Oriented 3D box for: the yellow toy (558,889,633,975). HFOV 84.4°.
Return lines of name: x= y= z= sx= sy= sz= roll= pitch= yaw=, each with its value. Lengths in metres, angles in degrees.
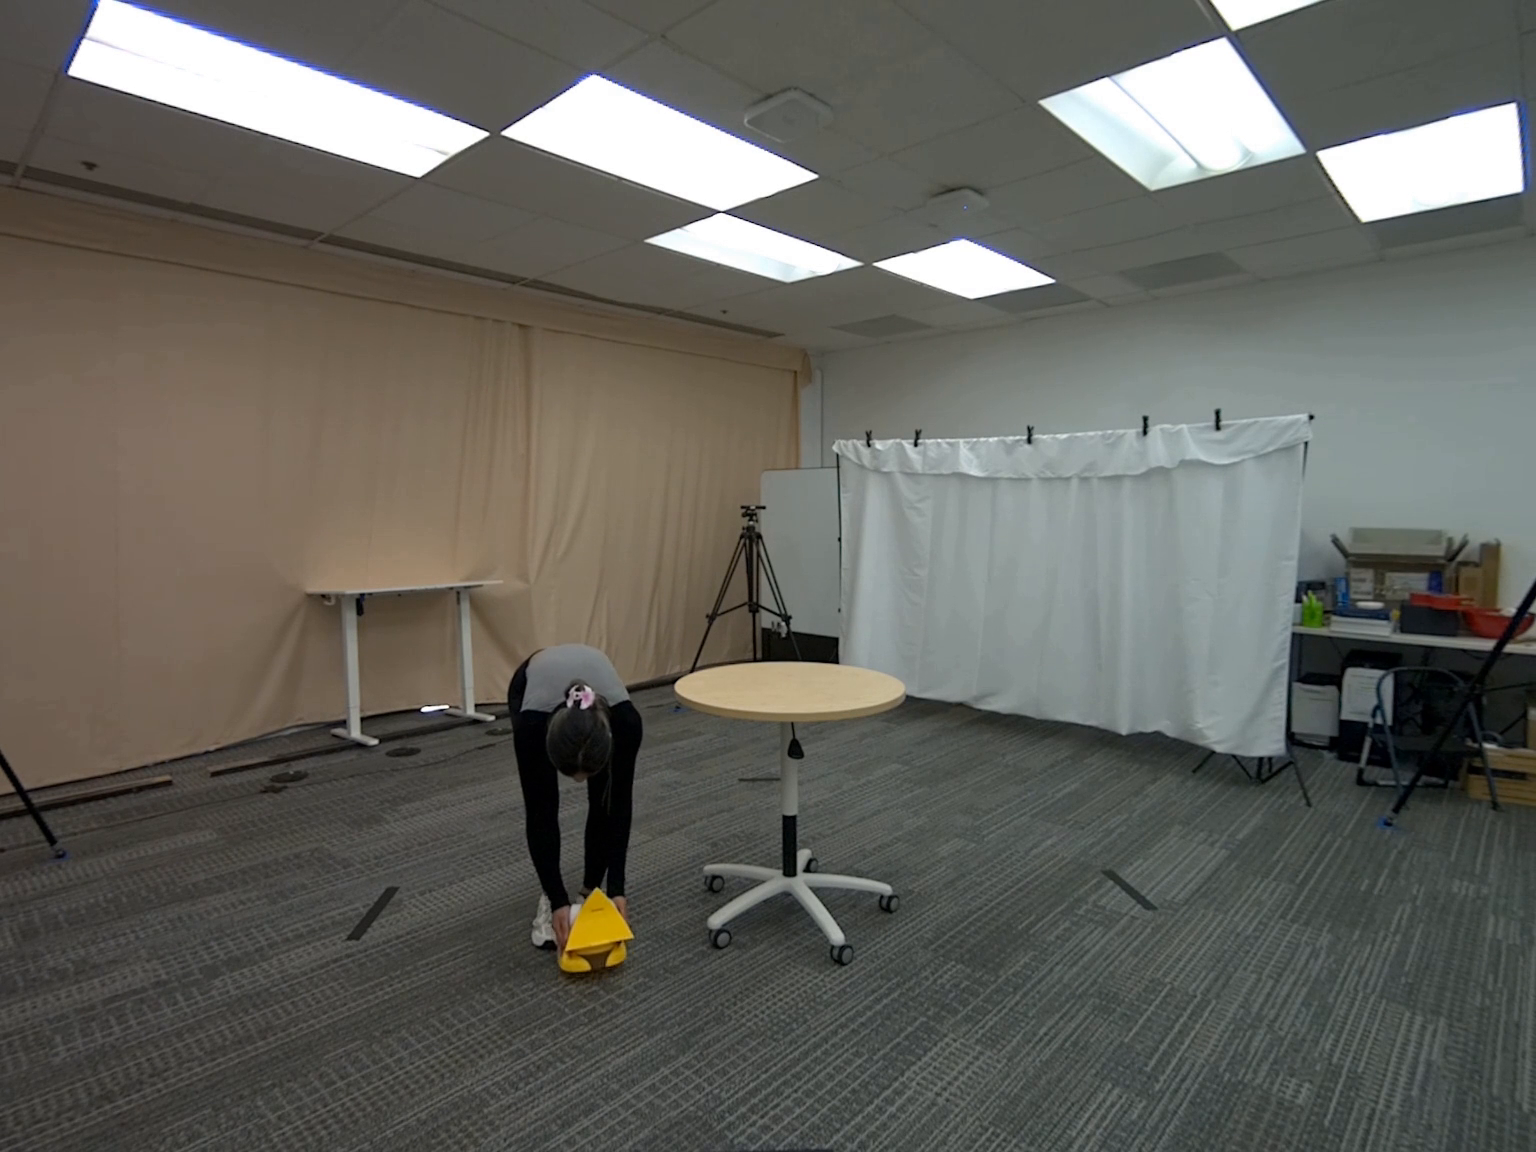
yellow toy: x=-0.531 y=1.027 z=2.517 sx=0.200 sy=0.231 sz=0.197 roll=-3 pitch=0 yaw=-25
